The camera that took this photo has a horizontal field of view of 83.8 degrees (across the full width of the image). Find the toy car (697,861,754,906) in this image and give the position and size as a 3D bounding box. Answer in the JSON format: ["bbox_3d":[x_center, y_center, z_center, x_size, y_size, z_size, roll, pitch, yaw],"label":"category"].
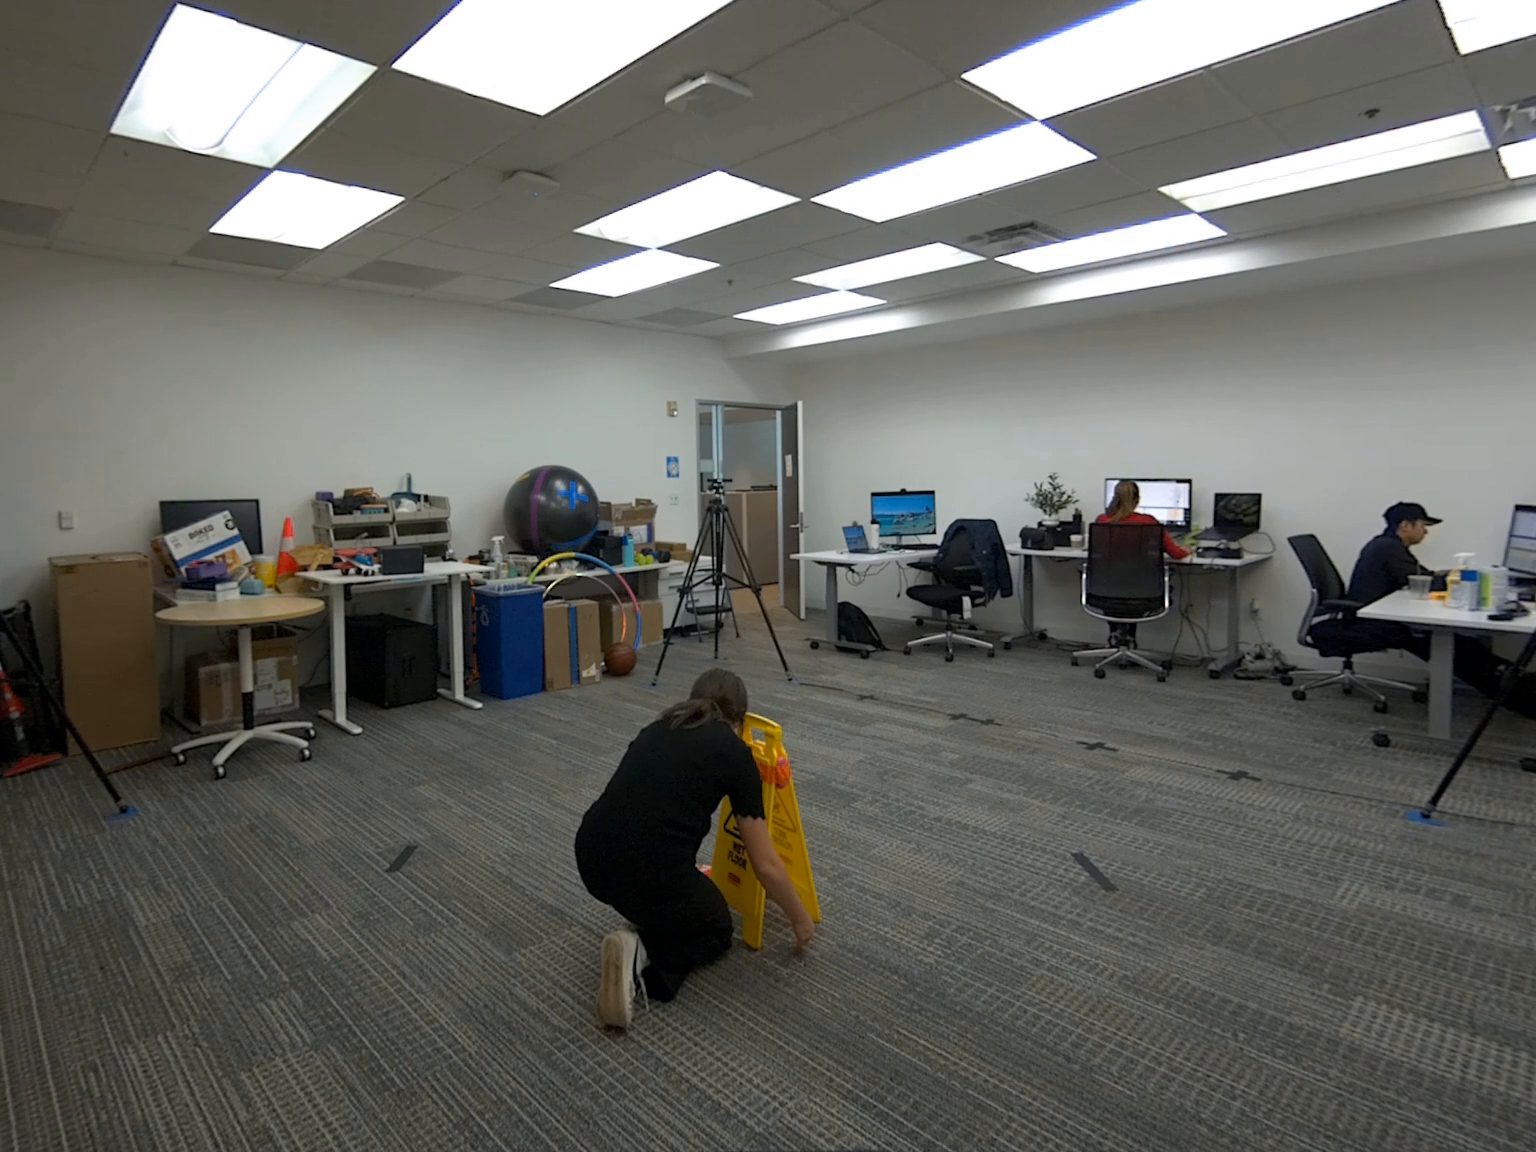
[{"bbox_3d":[-0.199,1.036,2.899,0.260,0.083,0.127,-9,1,32],"label":"toy car"}]
